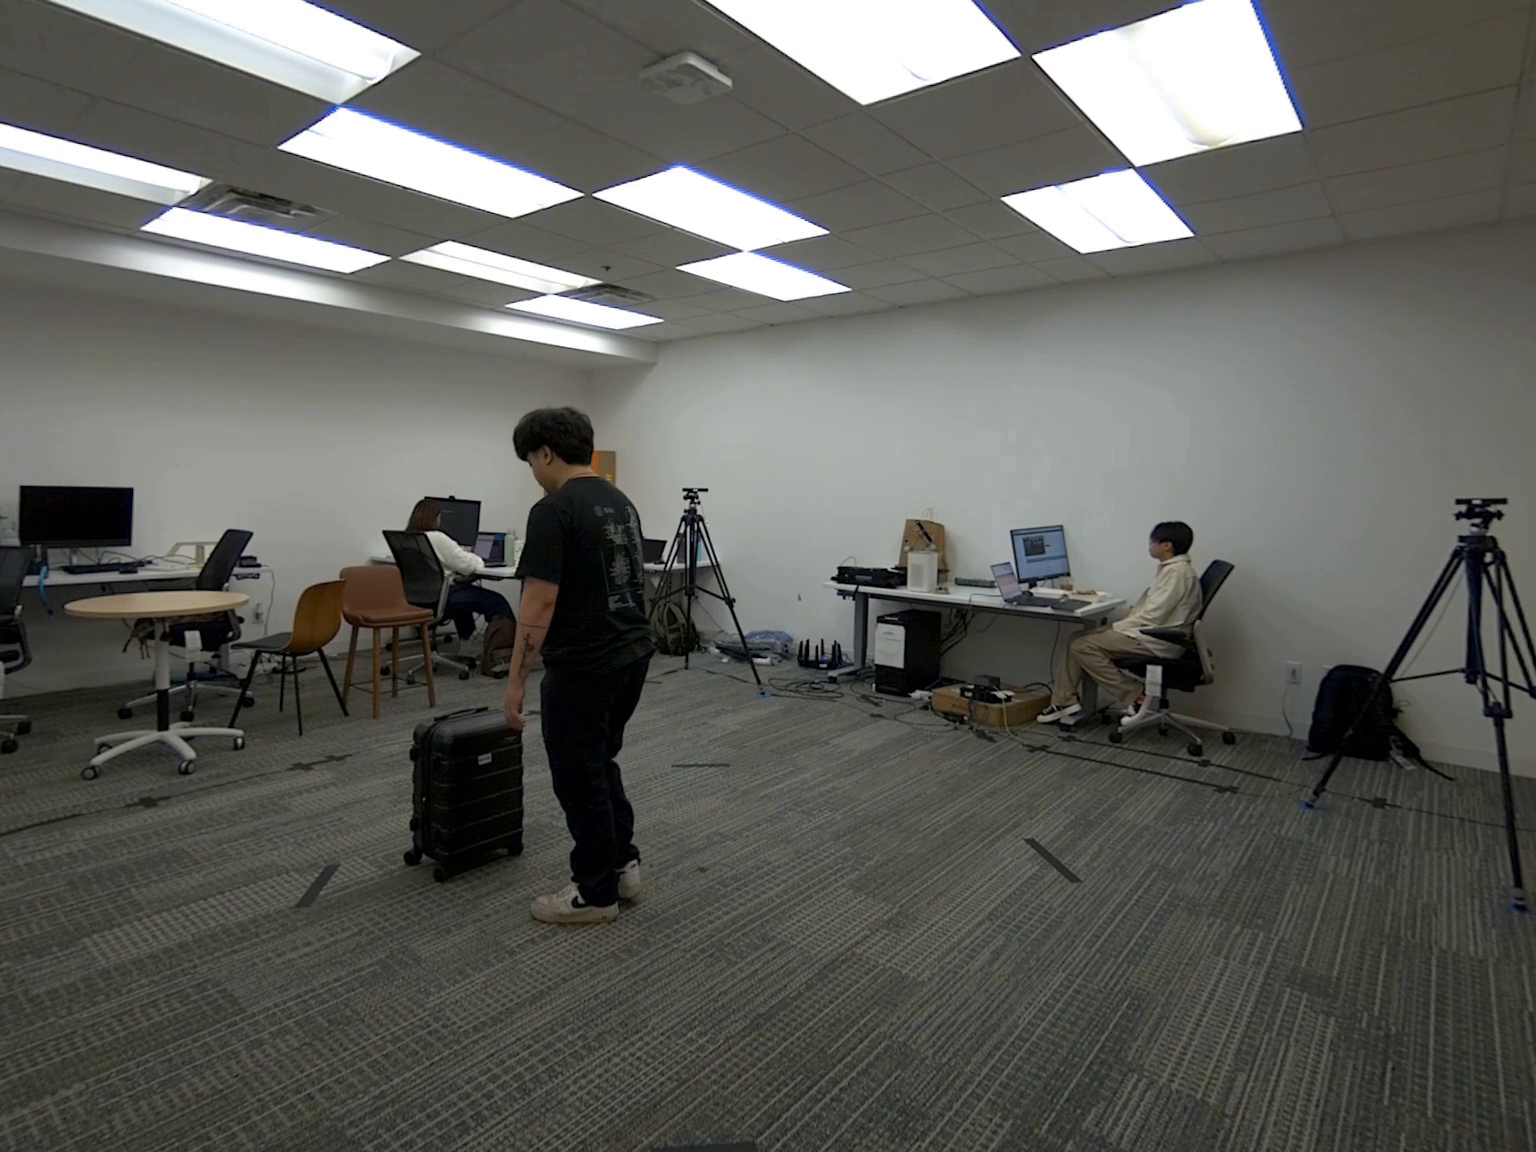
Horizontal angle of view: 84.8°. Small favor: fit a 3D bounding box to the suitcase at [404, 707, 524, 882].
[{"bbox_3d":[-1.120,0.776,3.145,0.257,0.547,0.364,6,5,40],"label":"suitcase"}]
